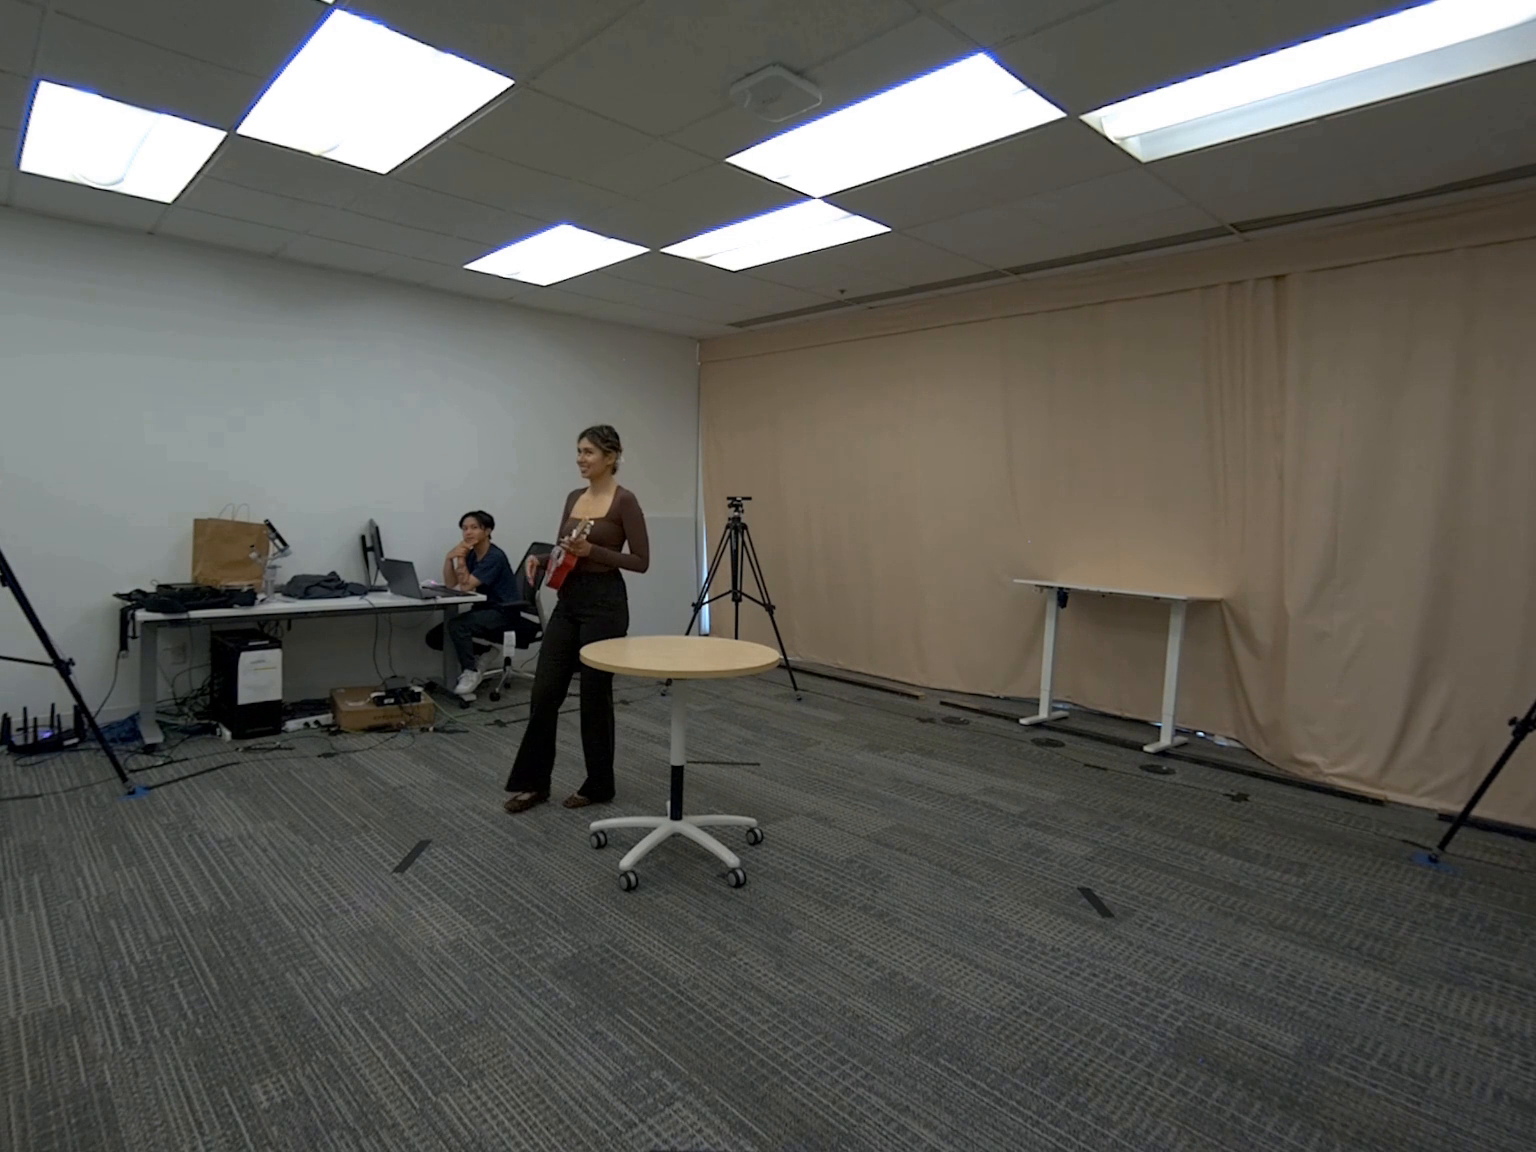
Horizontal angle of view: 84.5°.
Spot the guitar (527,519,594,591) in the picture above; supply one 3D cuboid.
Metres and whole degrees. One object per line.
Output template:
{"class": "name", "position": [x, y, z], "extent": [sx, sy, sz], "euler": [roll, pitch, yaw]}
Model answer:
{"class": "guitar", "position": [-0.863, -0.093, 3.597], "extent": [0.069, 0.196, 0.502], "euler": [19, -27, -26]}
